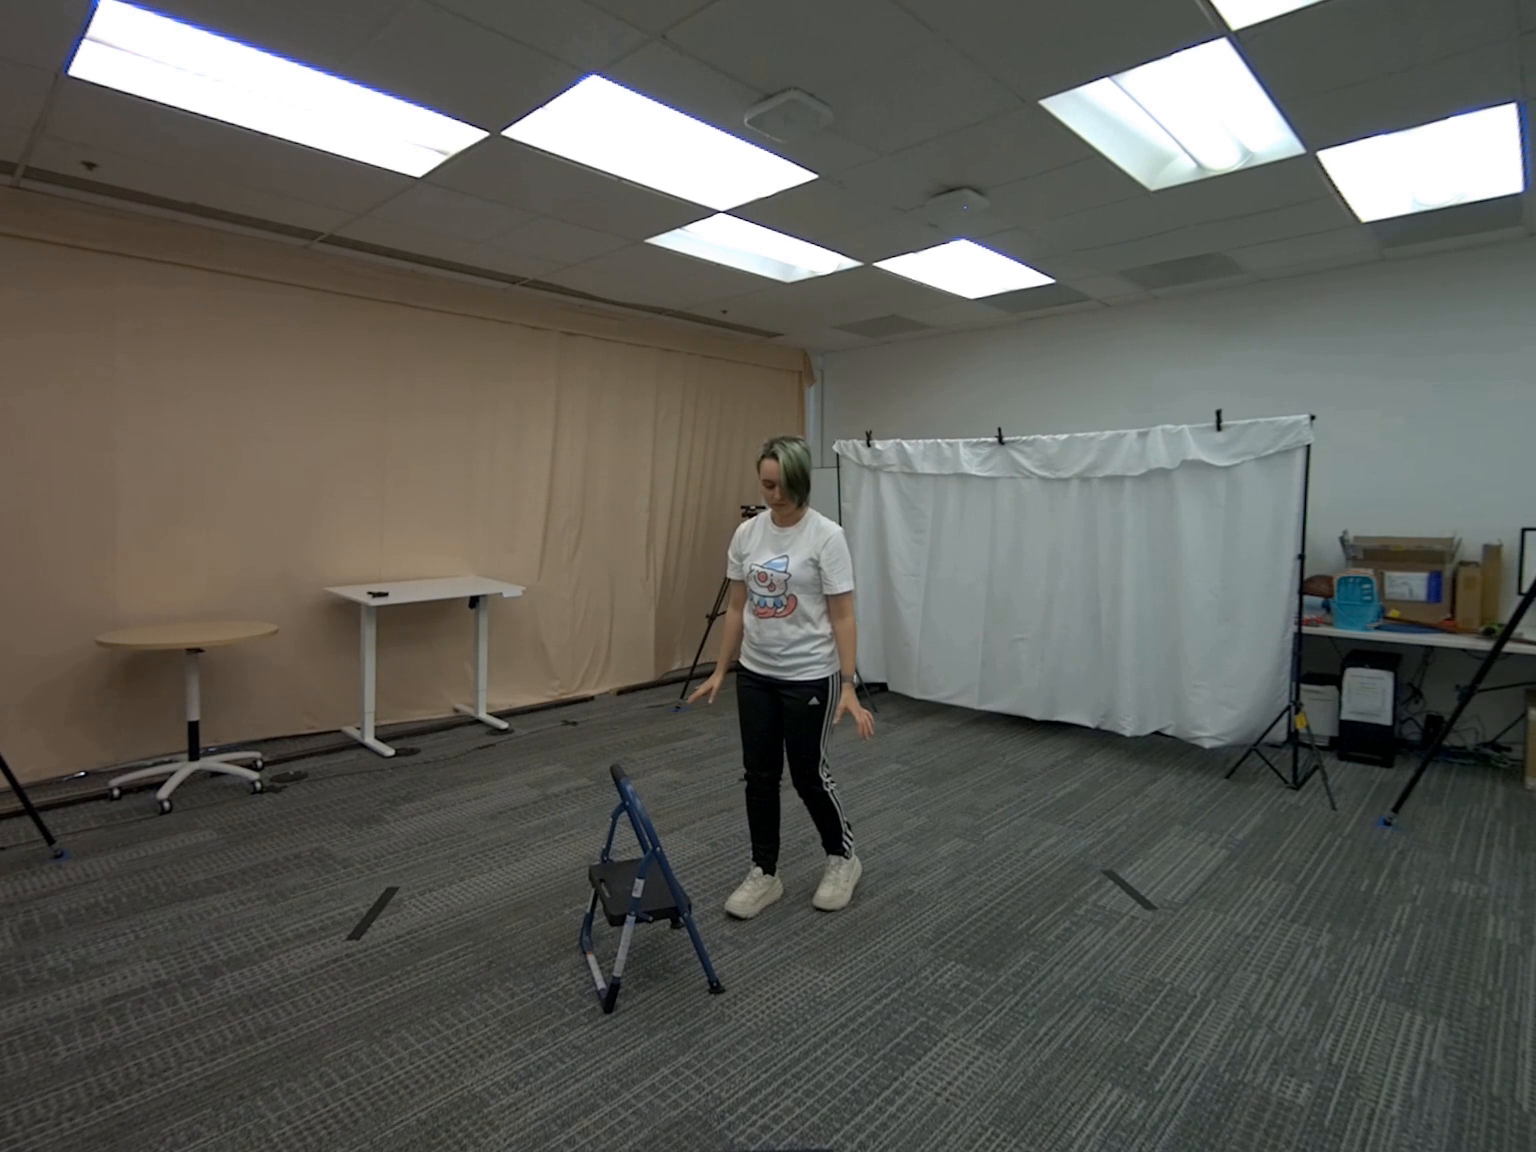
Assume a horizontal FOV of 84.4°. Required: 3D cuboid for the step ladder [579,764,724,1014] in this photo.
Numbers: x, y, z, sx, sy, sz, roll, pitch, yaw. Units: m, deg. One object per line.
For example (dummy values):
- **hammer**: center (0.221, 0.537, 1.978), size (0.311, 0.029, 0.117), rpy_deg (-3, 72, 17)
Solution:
- **step ladder**: center (-0.369, 0.881, 2.535), size (0.342, 0.605, 0.441), rpy_deg (-2, 3, -22)
